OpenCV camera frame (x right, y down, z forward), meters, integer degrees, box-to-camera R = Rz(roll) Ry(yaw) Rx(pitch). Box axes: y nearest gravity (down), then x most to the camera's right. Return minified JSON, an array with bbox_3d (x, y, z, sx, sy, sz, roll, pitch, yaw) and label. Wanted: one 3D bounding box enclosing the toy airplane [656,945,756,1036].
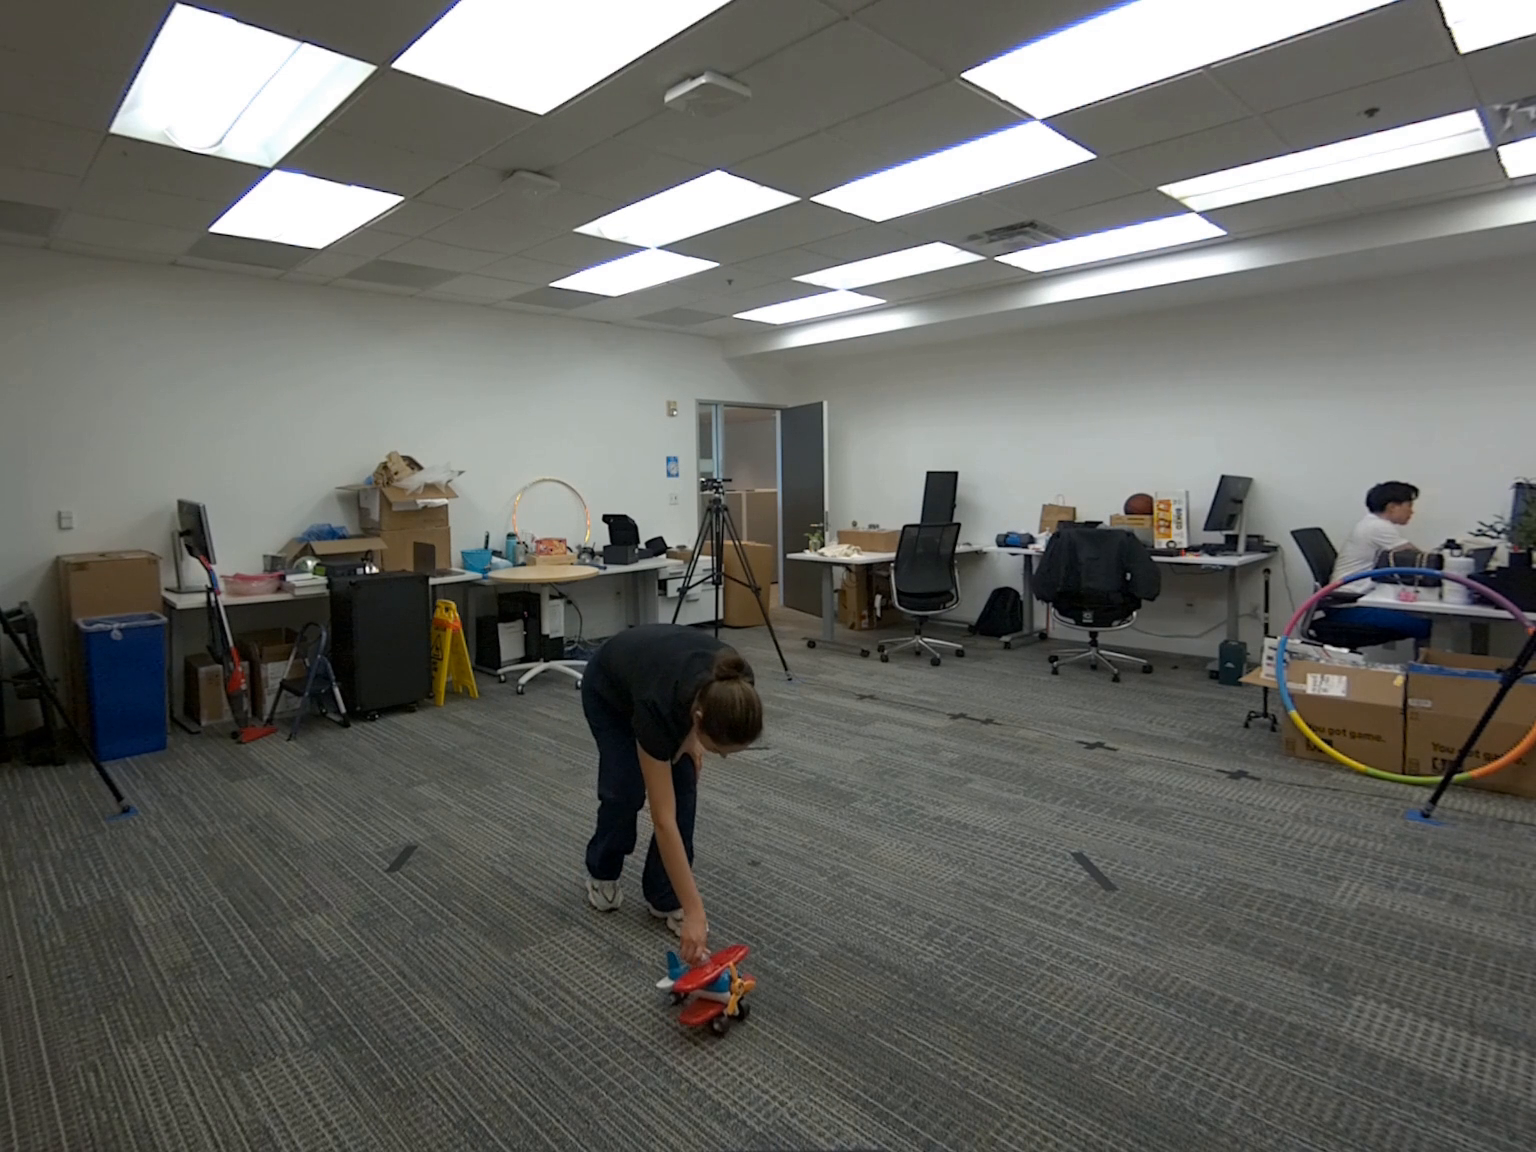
[{"bbox_3d":[-0.174,1.076,2.237,0.262,0.156,0.249,2,6,11],"label":"toy airplane"}]
